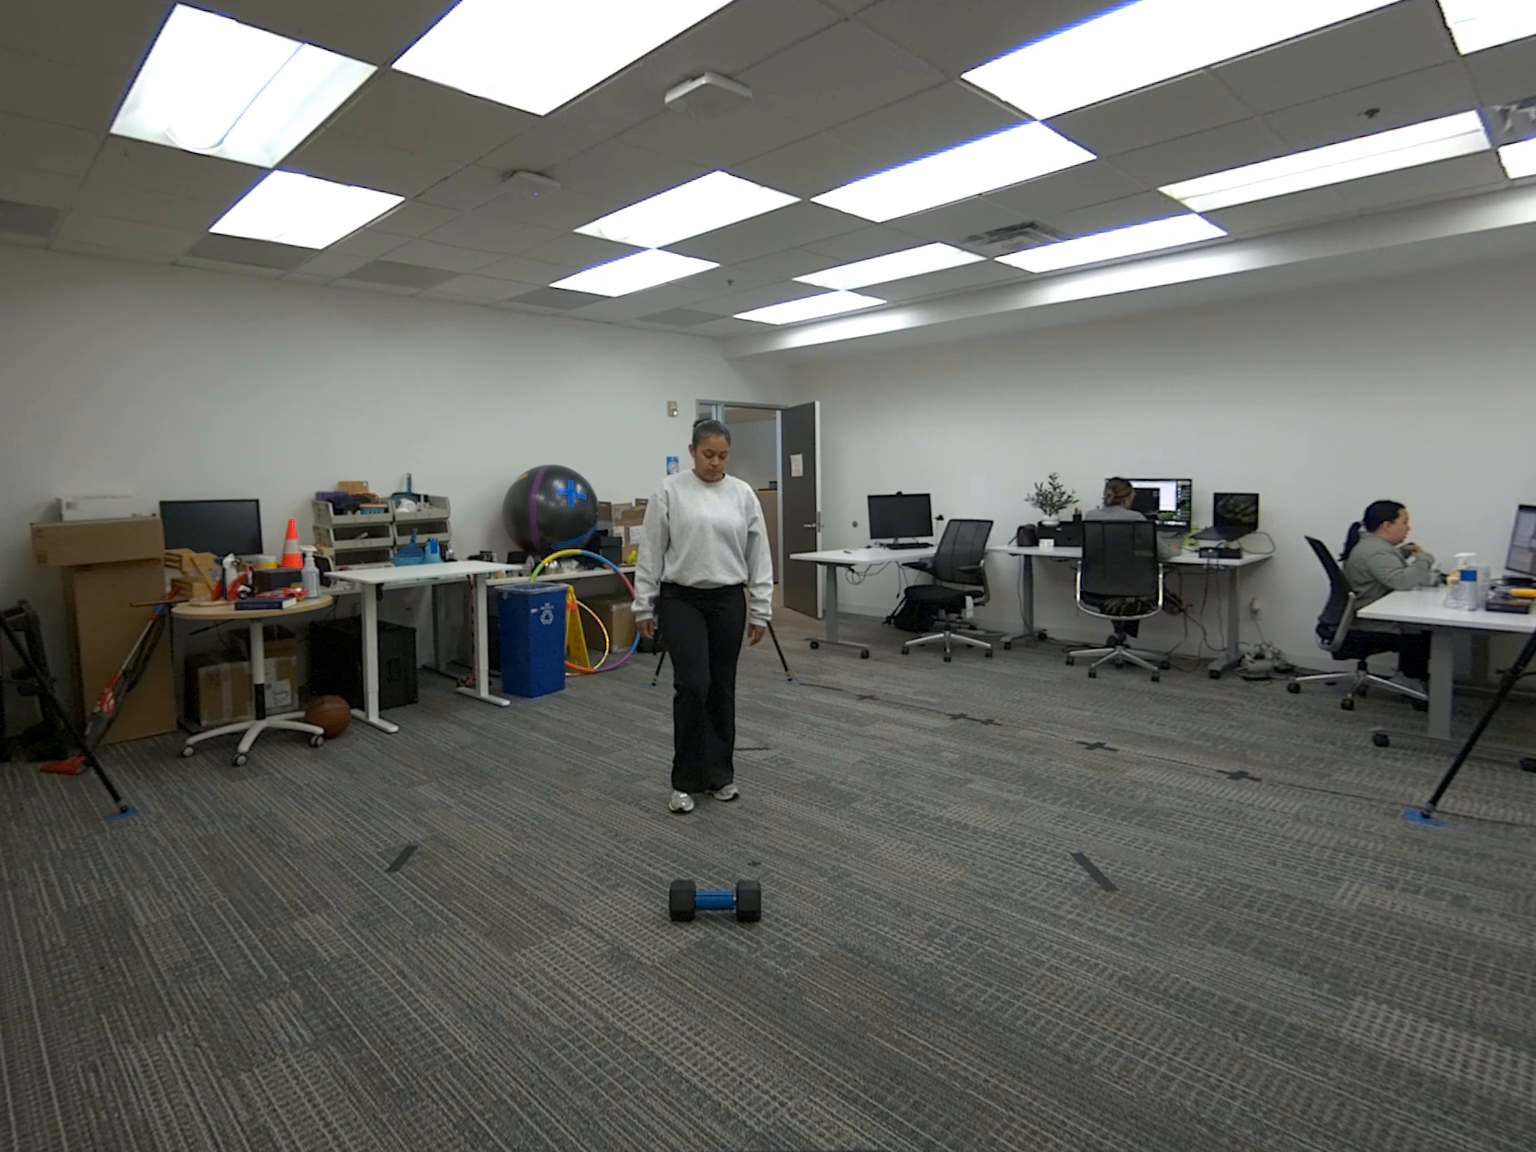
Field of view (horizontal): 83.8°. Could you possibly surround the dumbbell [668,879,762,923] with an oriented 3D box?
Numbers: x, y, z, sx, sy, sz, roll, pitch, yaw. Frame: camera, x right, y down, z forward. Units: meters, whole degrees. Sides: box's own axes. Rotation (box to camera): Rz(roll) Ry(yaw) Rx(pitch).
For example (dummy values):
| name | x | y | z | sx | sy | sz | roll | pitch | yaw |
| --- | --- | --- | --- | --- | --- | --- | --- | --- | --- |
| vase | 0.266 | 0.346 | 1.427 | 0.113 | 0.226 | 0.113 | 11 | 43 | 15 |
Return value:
| name | x | y | z | sx | sy | sz | roll | pitch | yaw |
| --- | --- | --- | --- | --- | --- | --- | --- | --- | --- |
| dumbbell | -0.164 | 1.041 | 2.725 | 0.294 | 0.125 | 0.106 | -1 | -25 | 1 |
